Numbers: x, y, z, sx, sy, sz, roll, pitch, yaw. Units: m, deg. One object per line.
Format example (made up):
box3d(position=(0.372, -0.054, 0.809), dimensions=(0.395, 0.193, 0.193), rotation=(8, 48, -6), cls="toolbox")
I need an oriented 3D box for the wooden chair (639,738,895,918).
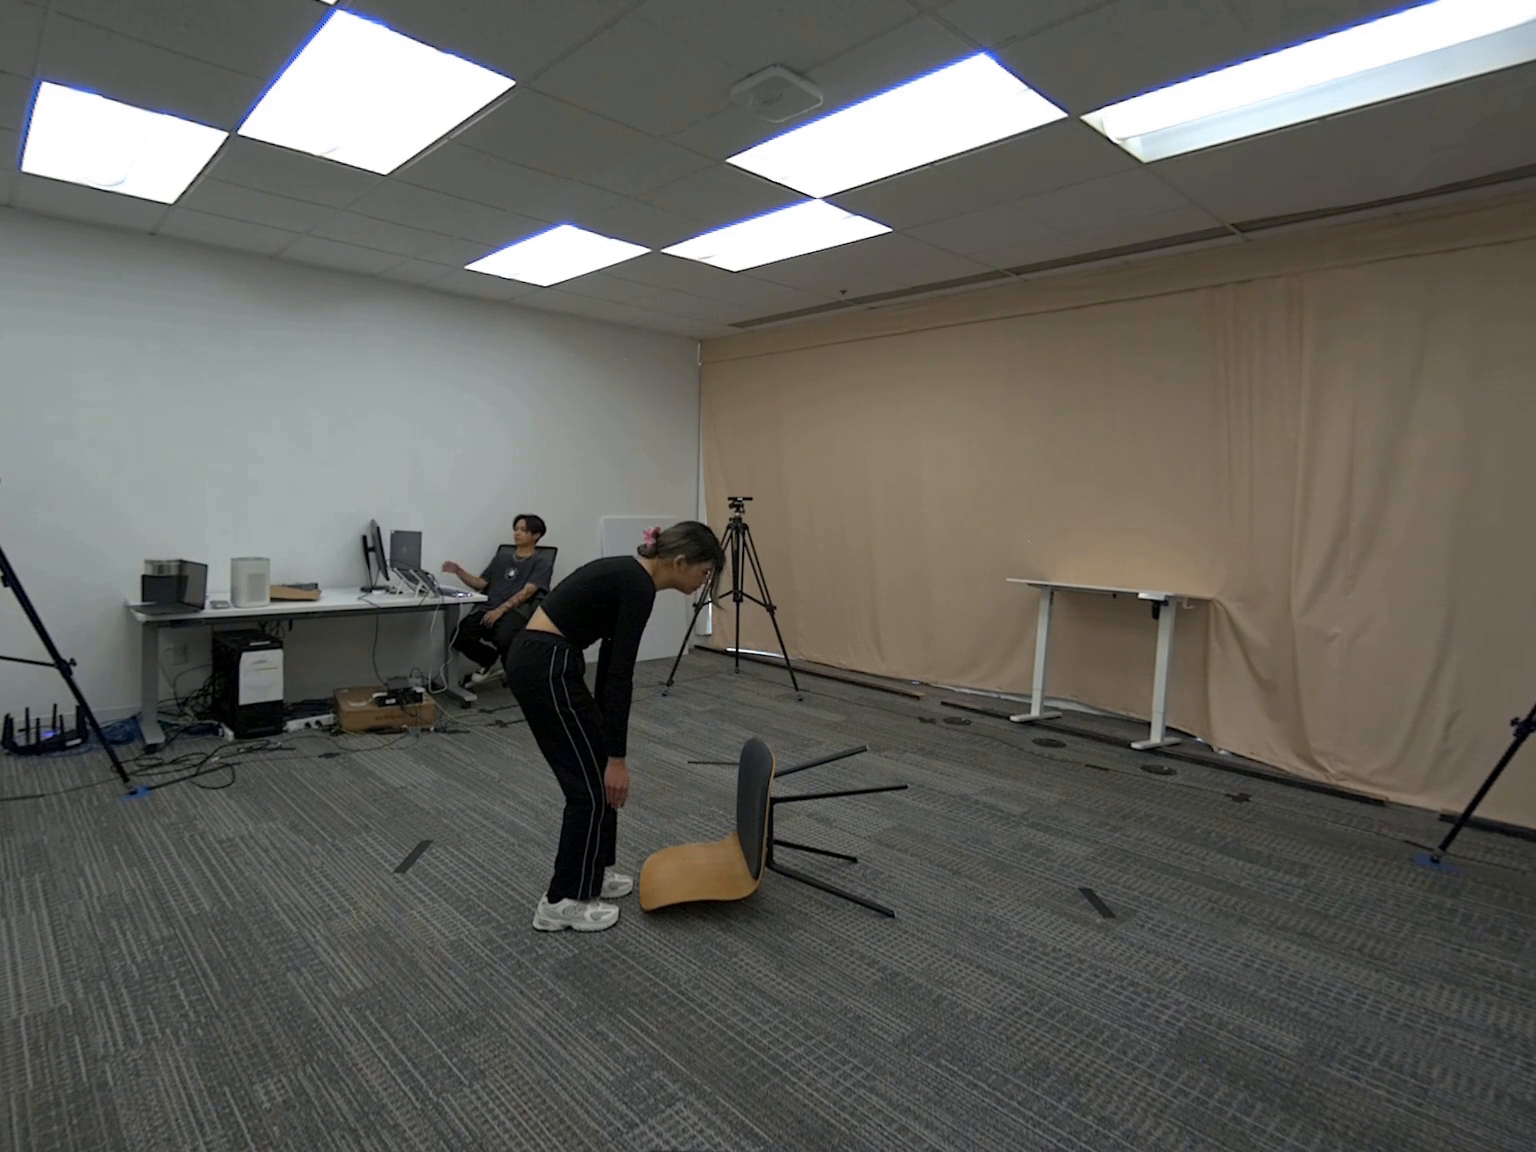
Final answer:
box3d(position=(-0.018, 0.862, 2.965), dimensions=(0.871, 0.522, 0.483), rotation=(0, 4, -9), cls="wooden chair")
